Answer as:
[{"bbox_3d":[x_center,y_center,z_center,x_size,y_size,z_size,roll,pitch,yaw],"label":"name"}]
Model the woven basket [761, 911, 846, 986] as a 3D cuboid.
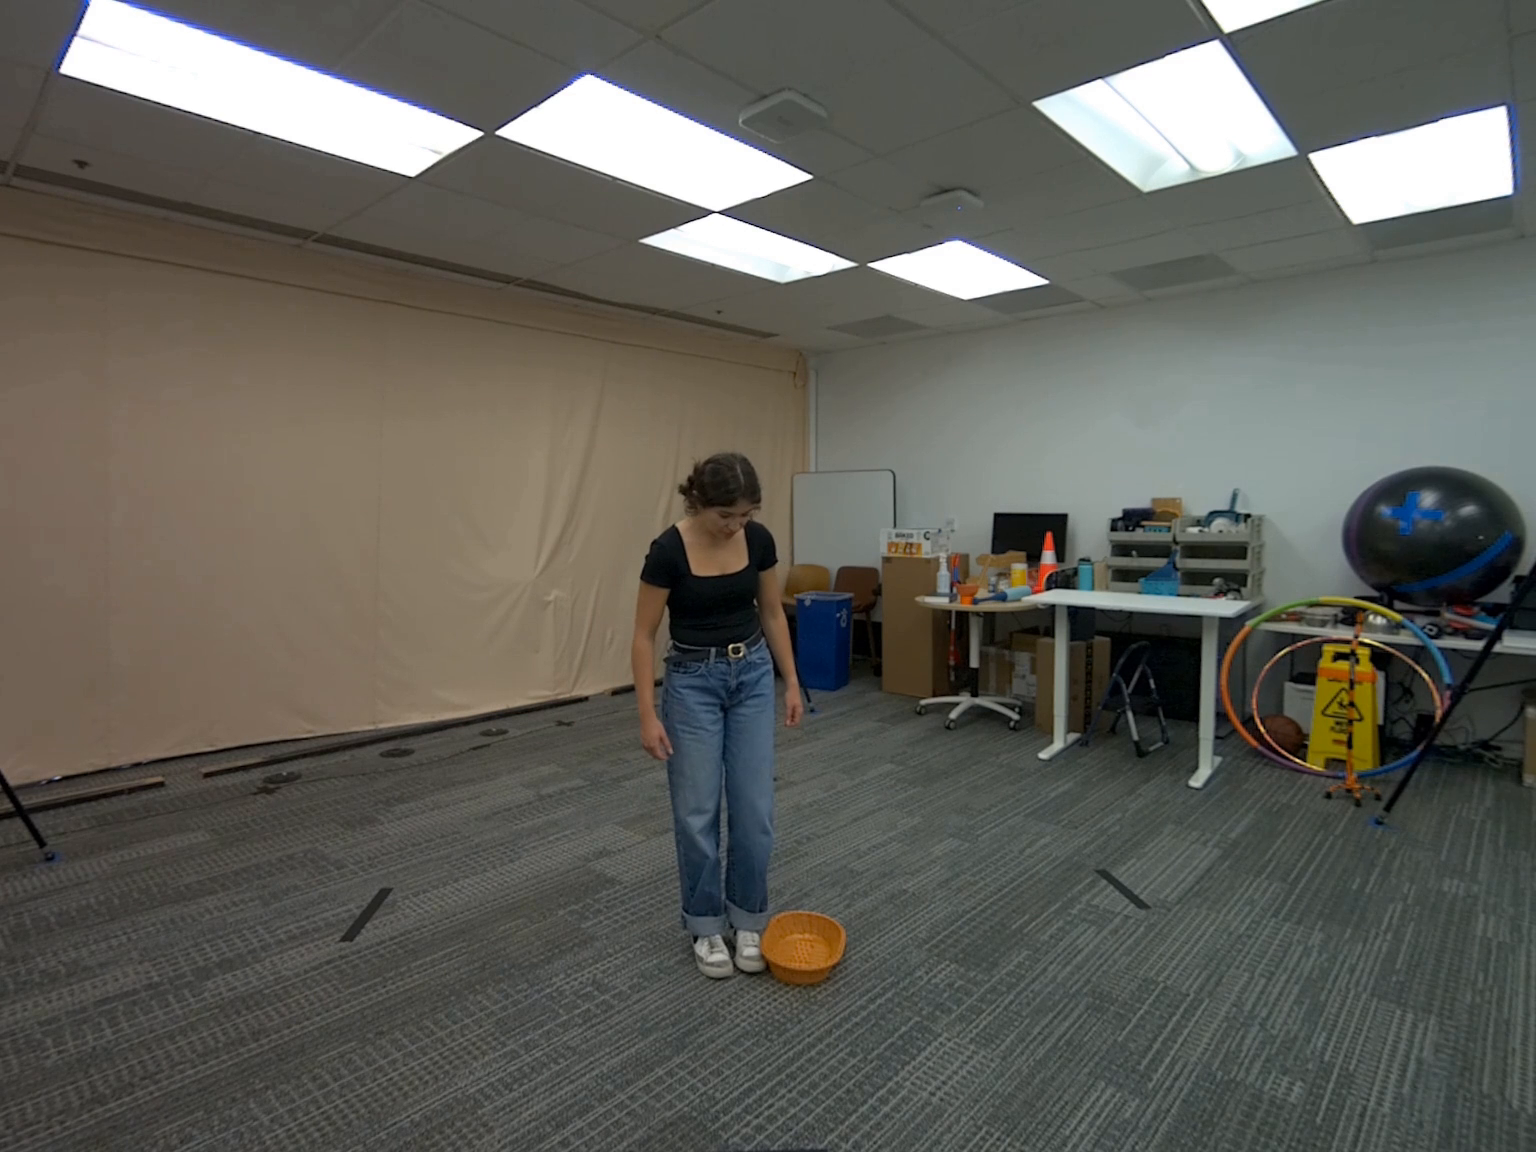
[{"bbox_3d":[0.122,1.137,2.575,0.256,0.073,0.346,3,4,13],"label":"woven basket"}]
